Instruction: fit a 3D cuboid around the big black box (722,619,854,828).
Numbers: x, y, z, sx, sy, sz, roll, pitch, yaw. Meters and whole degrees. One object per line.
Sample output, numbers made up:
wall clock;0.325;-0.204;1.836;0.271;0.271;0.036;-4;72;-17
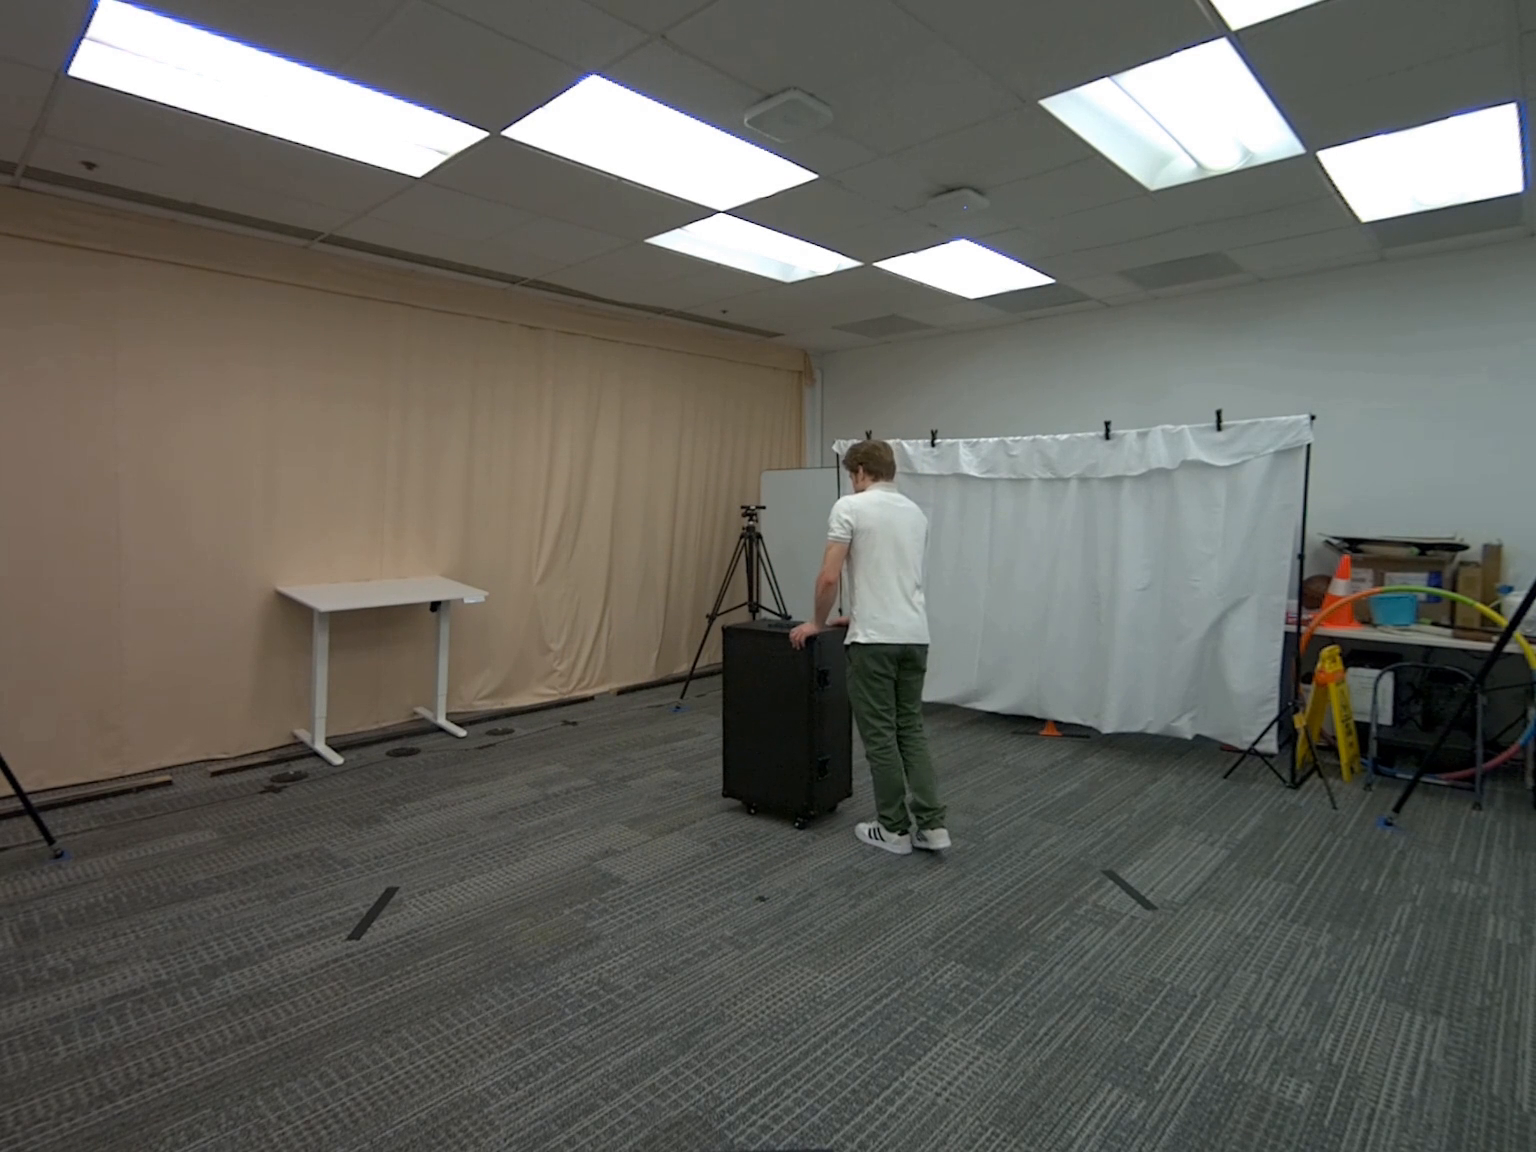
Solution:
big black box;0.085;0.651;3.834;0.540;0.867;0.374;2;3;34
